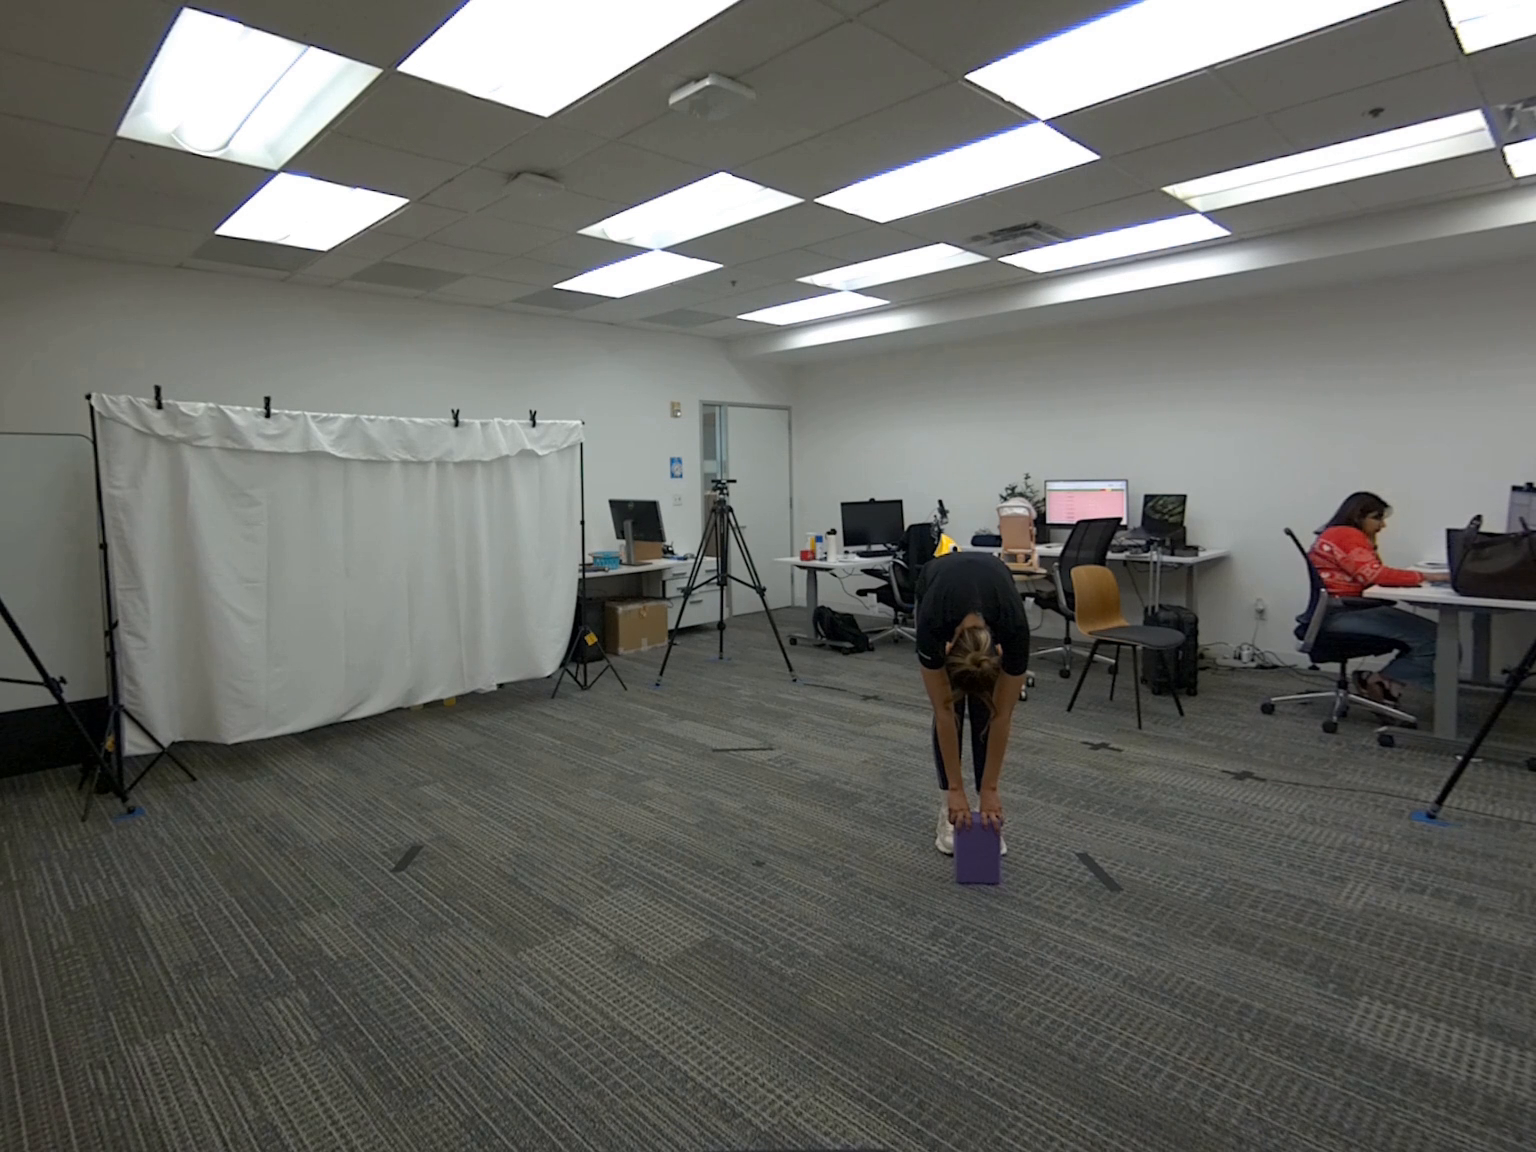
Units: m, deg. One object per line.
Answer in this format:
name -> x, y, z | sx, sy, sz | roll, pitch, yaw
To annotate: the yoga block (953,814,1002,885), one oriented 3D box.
yoga block -> 0.723, 0.944, 2.943 | 0.150, 0.229, 0.076 | -2, 3, 6
